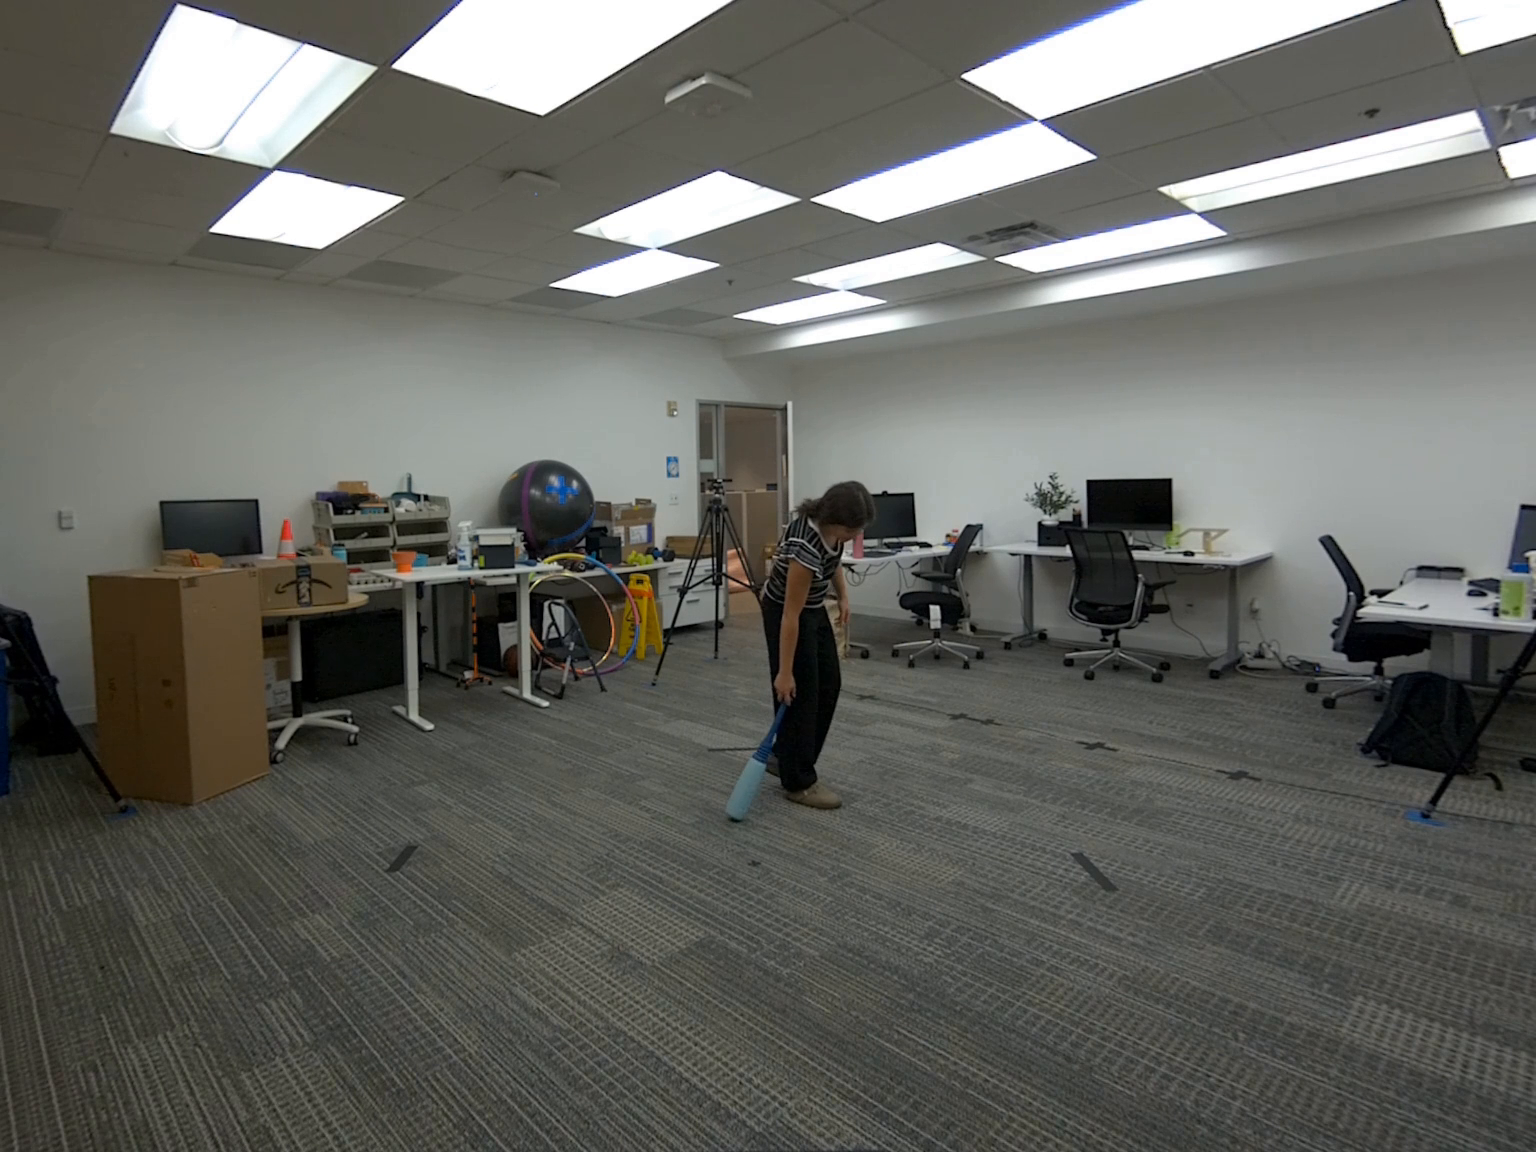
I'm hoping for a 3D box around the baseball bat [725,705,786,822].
[{"bbox_3d":[-0.029,0.750,3.535,0.089,0.545,0.088,25,-7,1],"label":"baseball bat"}]
